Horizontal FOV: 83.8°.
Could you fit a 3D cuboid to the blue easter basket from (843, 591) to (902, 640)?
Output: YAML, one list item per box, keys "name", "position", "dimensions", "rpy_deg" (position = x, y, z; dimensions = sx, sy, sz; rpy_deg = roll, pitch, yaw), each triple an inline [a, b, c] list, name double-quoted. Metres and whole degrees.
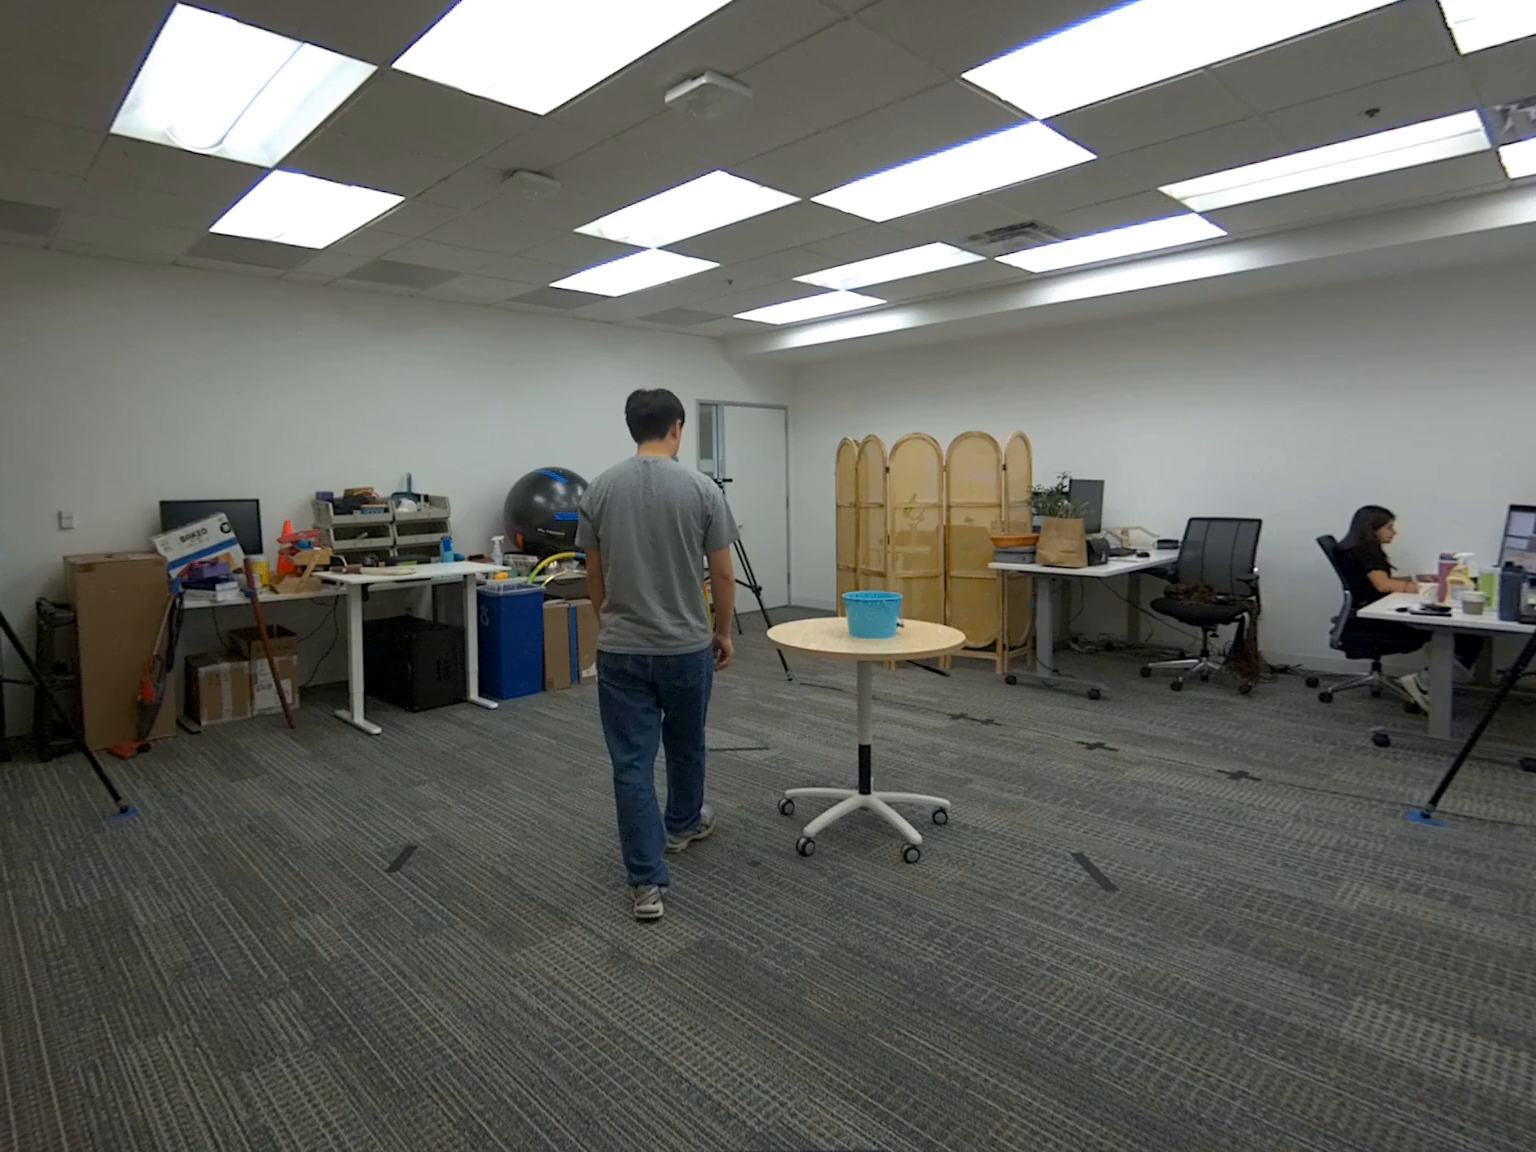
- name: "blue easter basket"
  position: [0.422, 0.155, 3.338]
  dimensions: [0.243, 0.155, 0.245]
  rpy_deg: [0, 6, -2]
